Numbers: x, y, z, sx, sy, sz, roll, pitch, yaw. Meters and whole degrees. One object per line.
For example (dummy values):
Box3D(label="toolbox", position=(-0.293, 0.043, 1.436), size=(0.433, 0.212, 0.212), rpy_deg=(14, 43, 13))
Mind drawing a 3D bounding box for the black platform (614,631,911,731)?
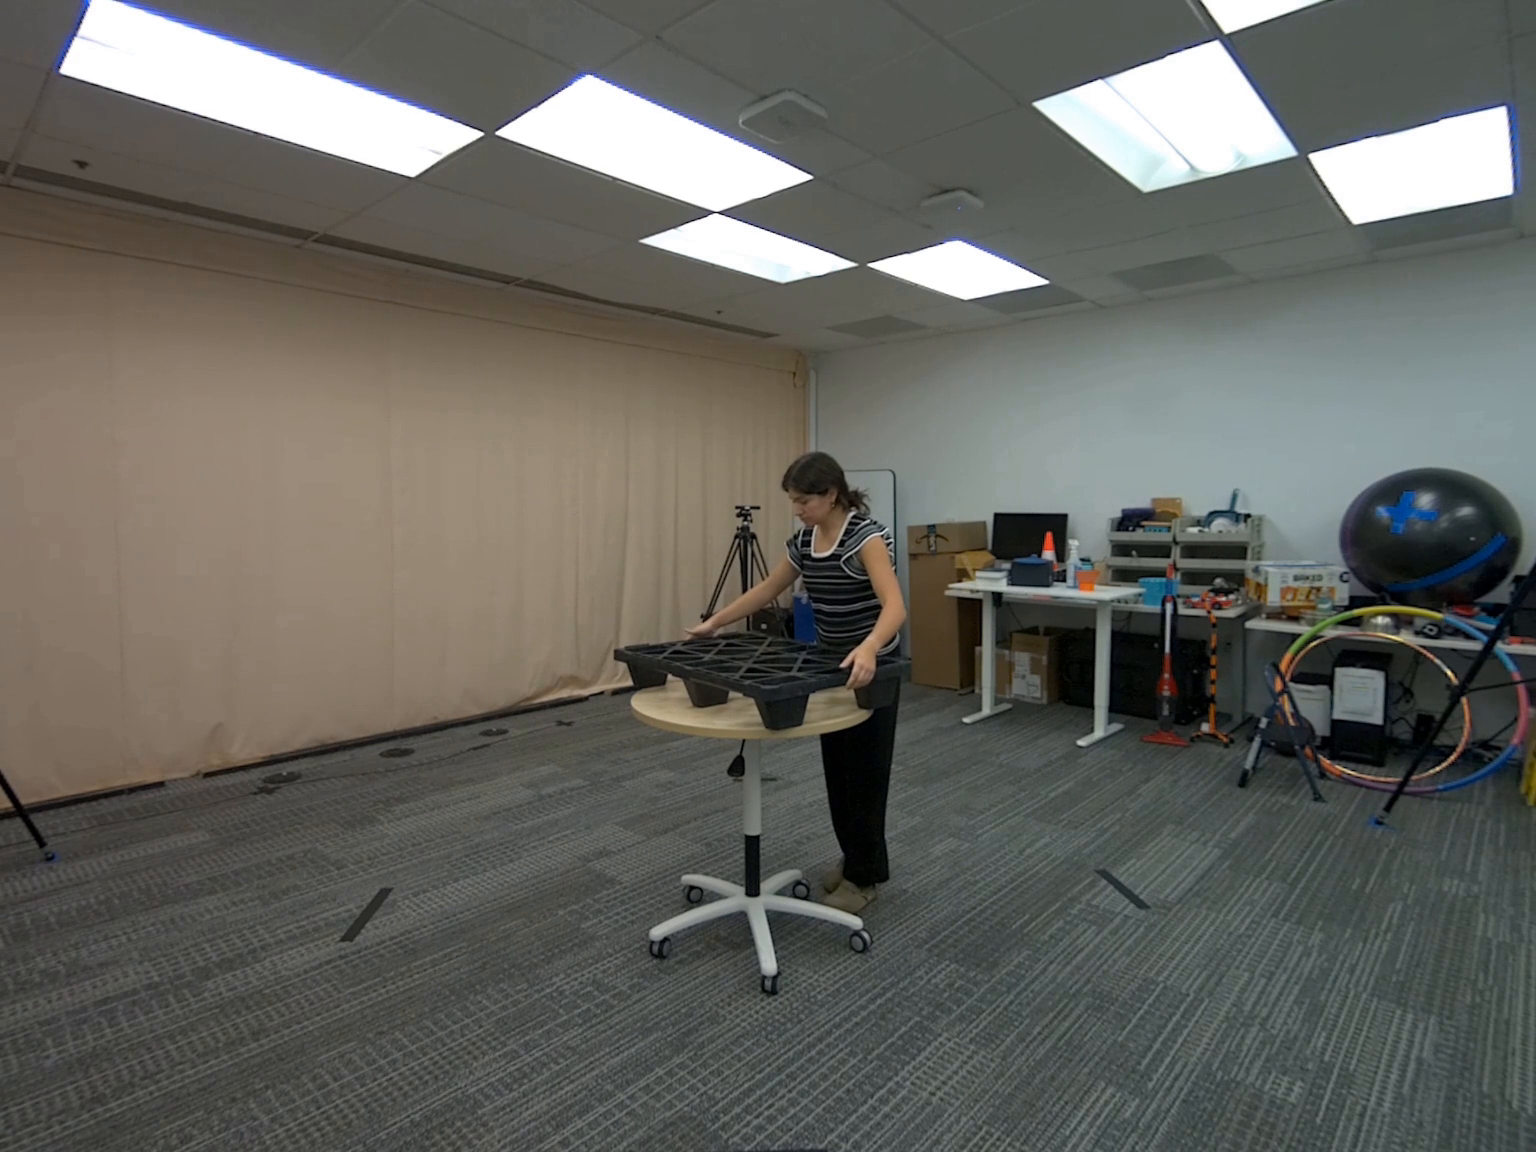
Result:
Box3D(label="black platform", position=(-0.033, 0.319, 2.698), size=(0.587, 0.143, 0.832), rpy_deg=(-5, 6, -39))
